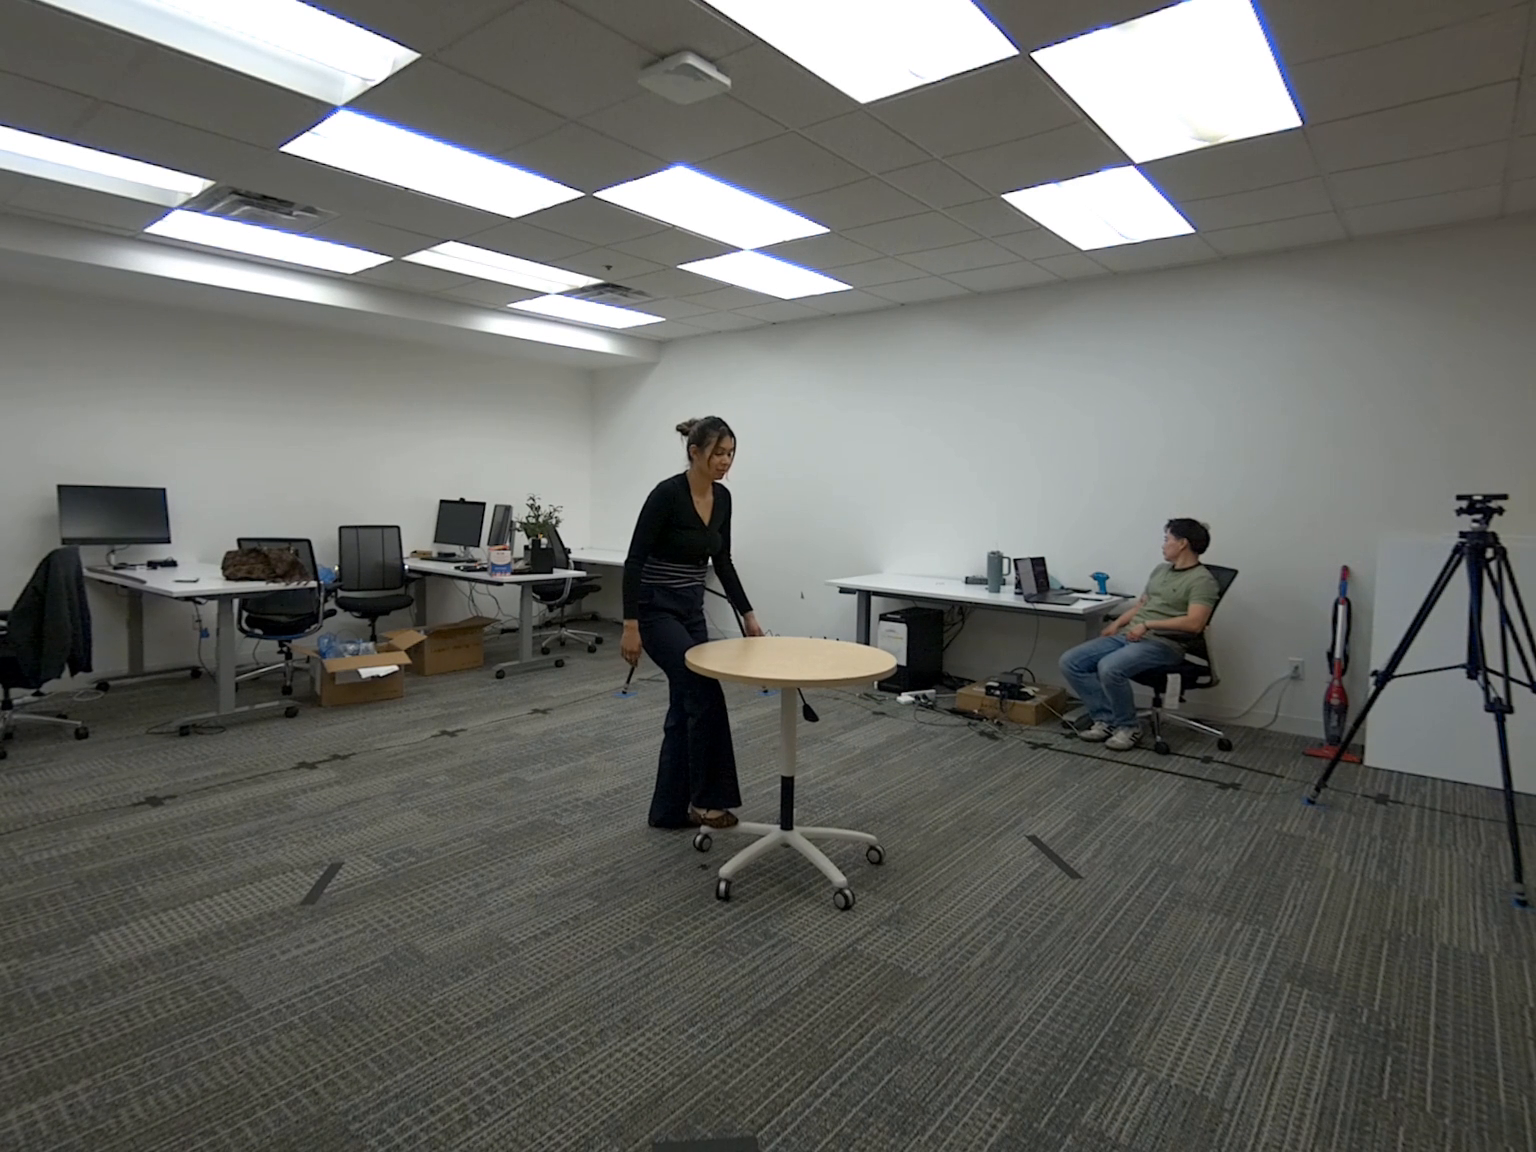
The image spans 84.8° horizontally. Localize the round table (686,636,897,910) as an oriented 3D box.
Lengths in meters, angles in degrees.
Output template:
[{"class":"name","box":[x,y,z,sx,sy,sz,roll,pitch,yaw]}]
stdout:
[{"class":"round table","box":[0.073,0.681,3.113,0.763,0.791,0.768,1,4,-2]}]
